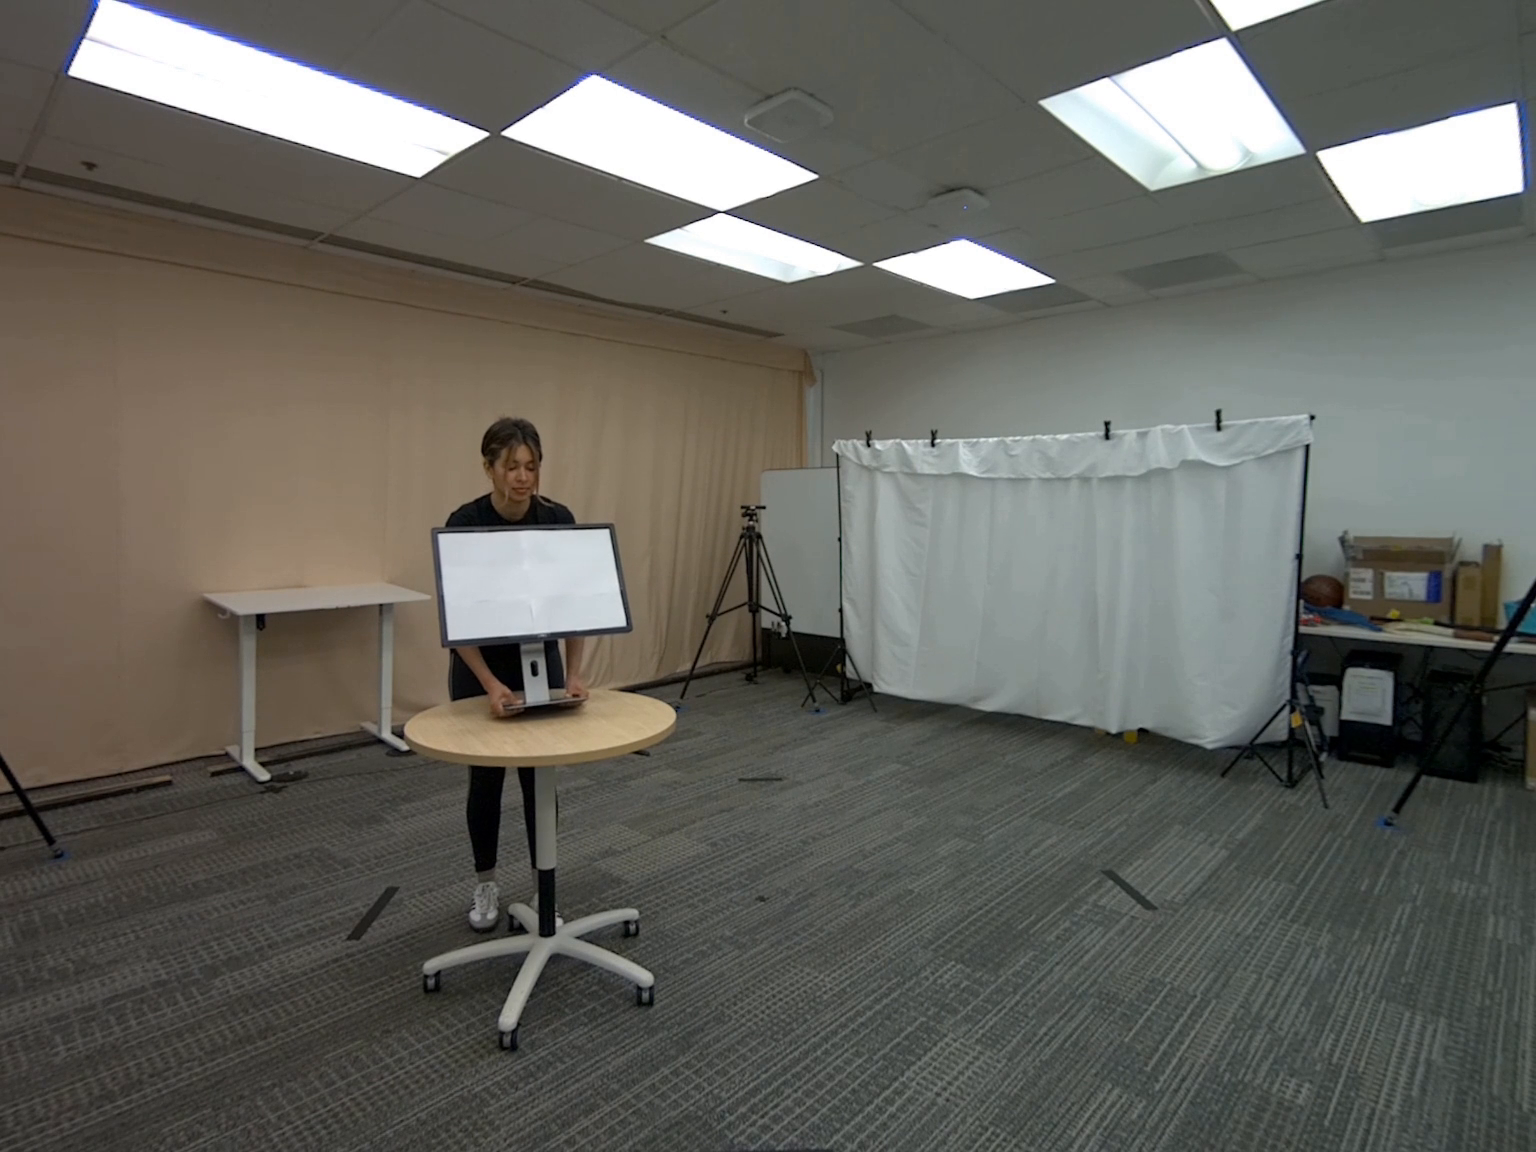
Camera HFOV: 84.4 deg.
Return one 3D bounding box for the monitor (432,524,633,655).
[{"bbox_3d":[-0.698,0.122,2.526,0.526,0.525,0.191,-2,-8,-26],"label":"monitor"}]
